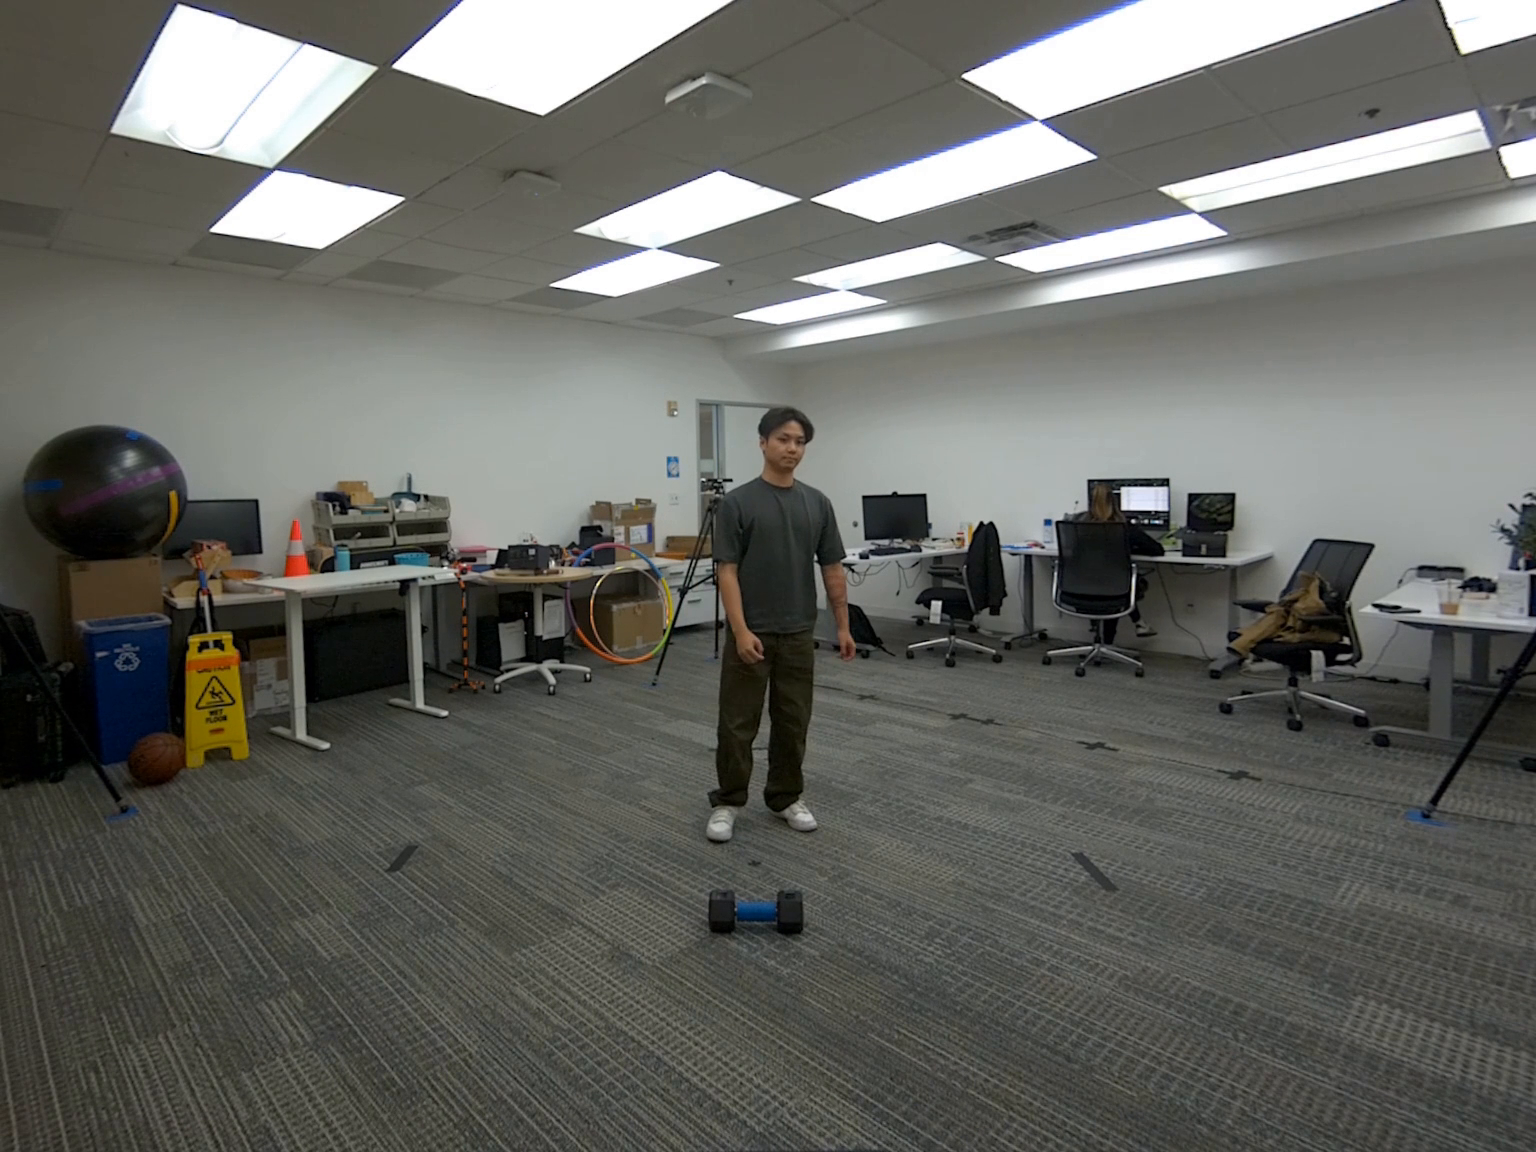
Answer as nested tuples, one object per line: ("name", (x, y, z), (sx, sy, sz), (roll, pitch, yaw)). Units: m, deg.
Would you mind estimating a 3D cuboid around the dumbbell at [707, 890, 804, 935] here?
("dumbbell", (-0.033, 1.049, 2.655), (0.294, 0.120, 0.111), (-1, 34, 3))
